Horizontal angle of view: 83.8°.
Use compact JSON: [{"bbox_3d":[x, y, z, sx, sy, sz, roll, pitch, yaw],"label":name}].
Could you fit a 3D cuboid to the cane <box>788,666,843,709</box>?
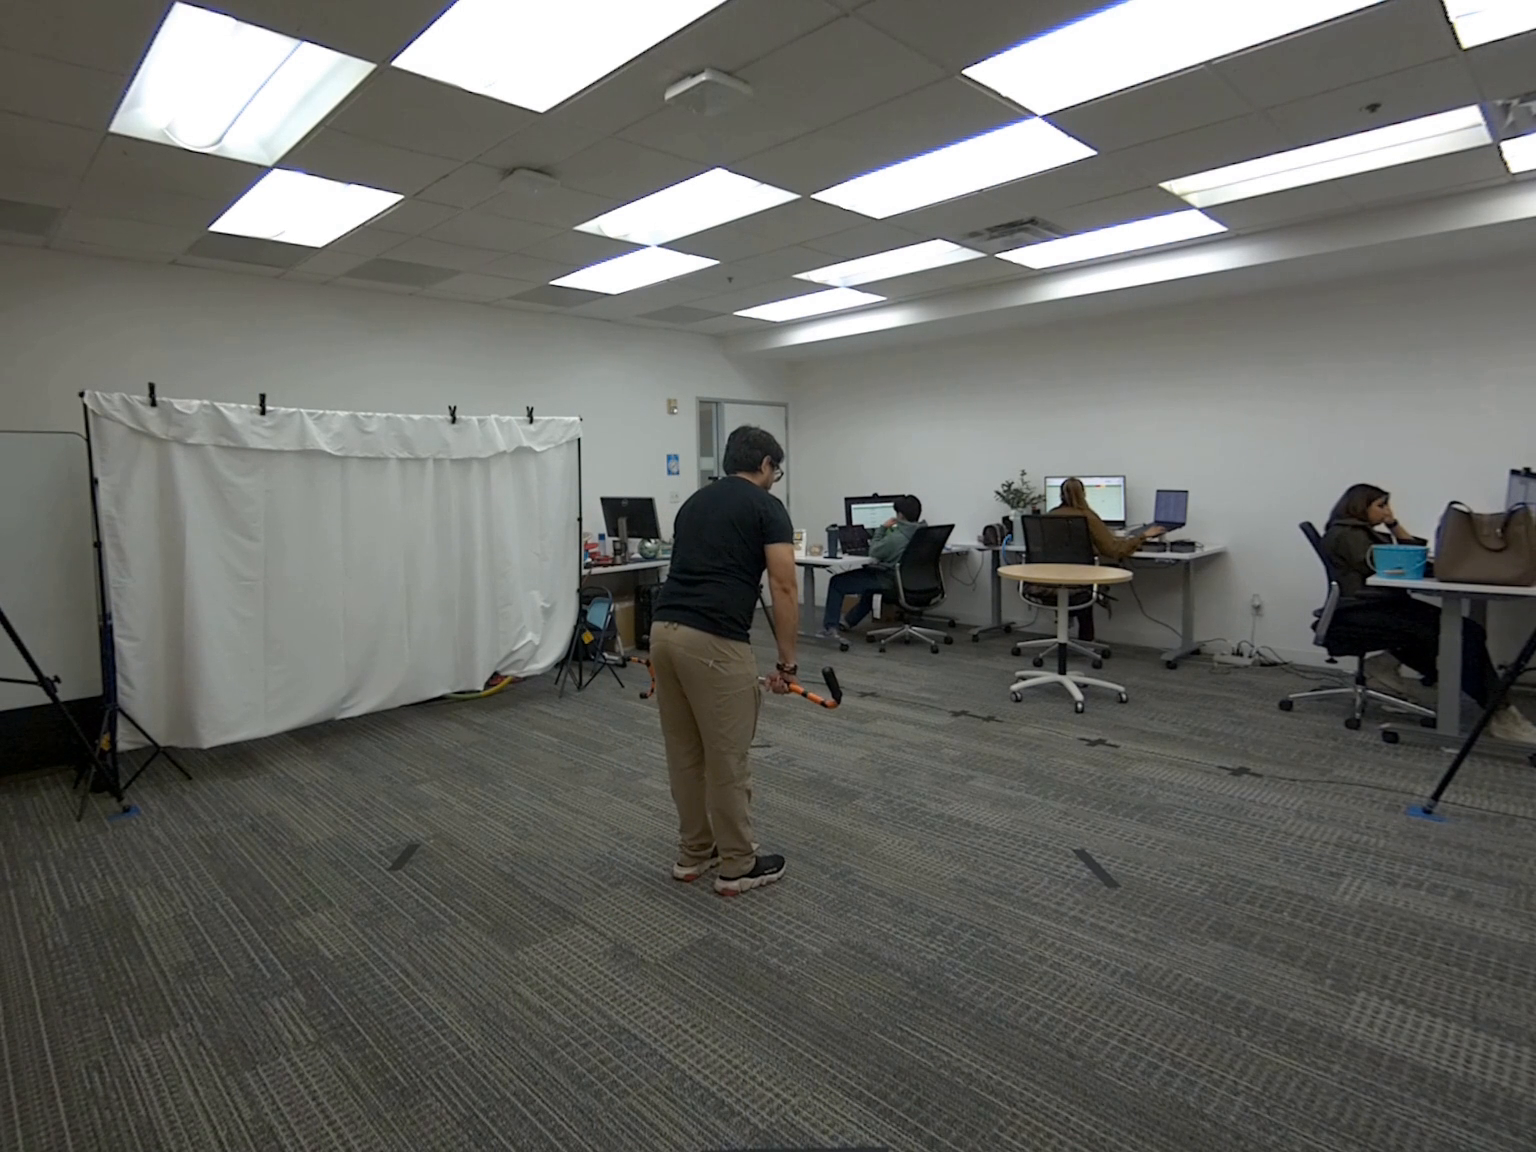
[{"bbox_3d":[-0.111,0.373,2.987,0.935,0.201,0.151,3,34,41],"label":"cane"}]
